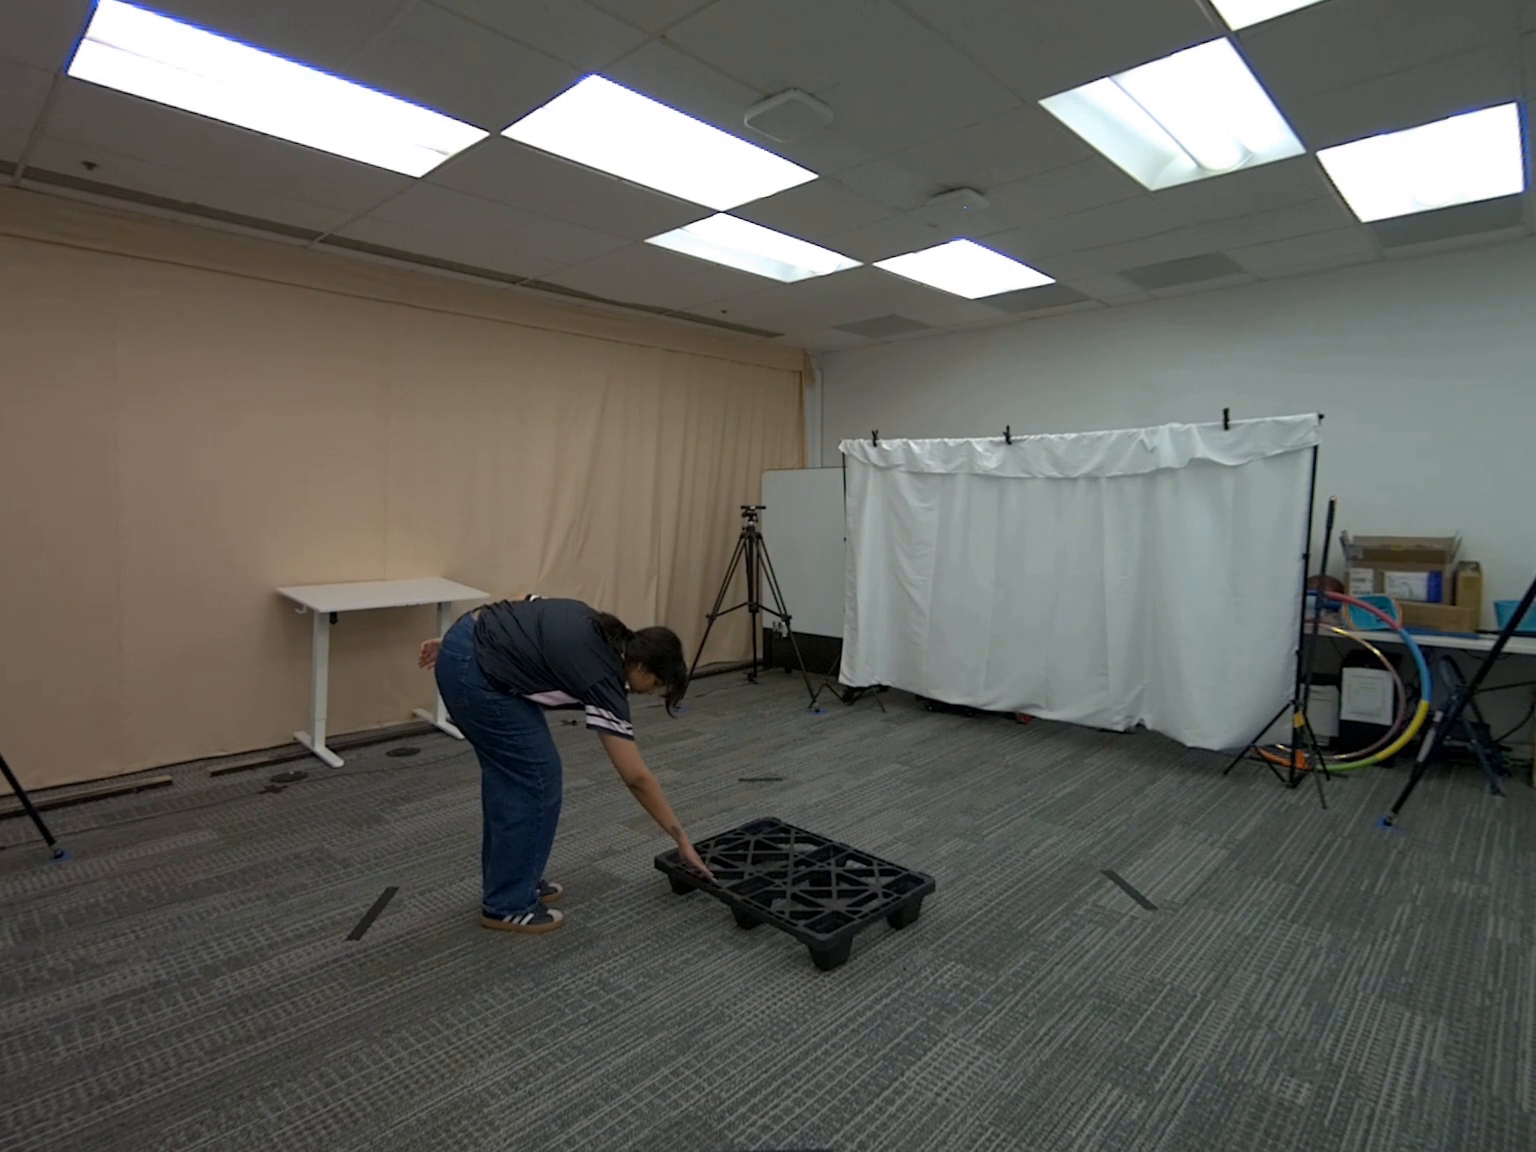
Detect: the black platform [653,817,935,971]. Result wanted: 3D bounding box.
[{"bbox_3d":[0.081,1.084,2.922,0.587,0.143,0.833,-5,7,-44],"label":"black platform"}]
